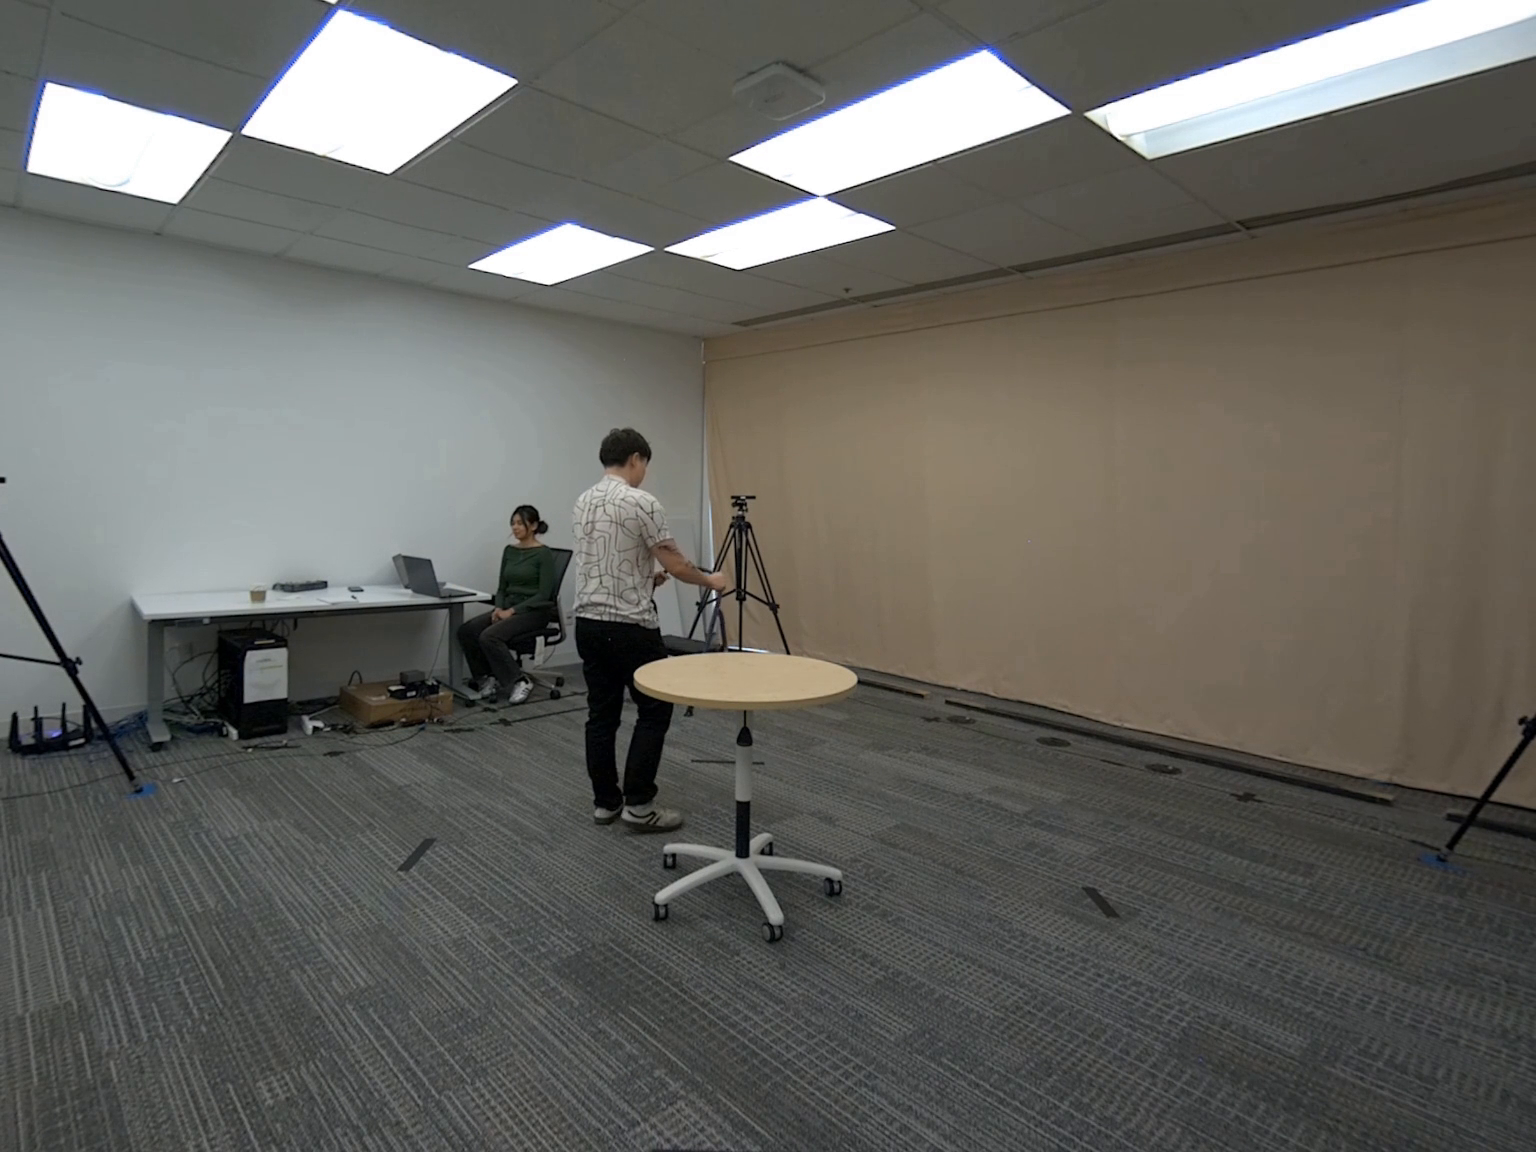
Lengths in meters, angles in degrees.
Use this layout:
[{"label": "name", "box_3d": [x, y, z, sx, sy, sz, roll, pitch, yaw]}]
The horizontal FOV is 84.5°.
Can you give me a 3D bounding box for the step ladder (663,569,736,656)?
[{"label": "step ladder", "box_3d": [-0.409, 0.255, 3.773, 0.440, 0.604, 0.342, 5, 5, 32]}]
